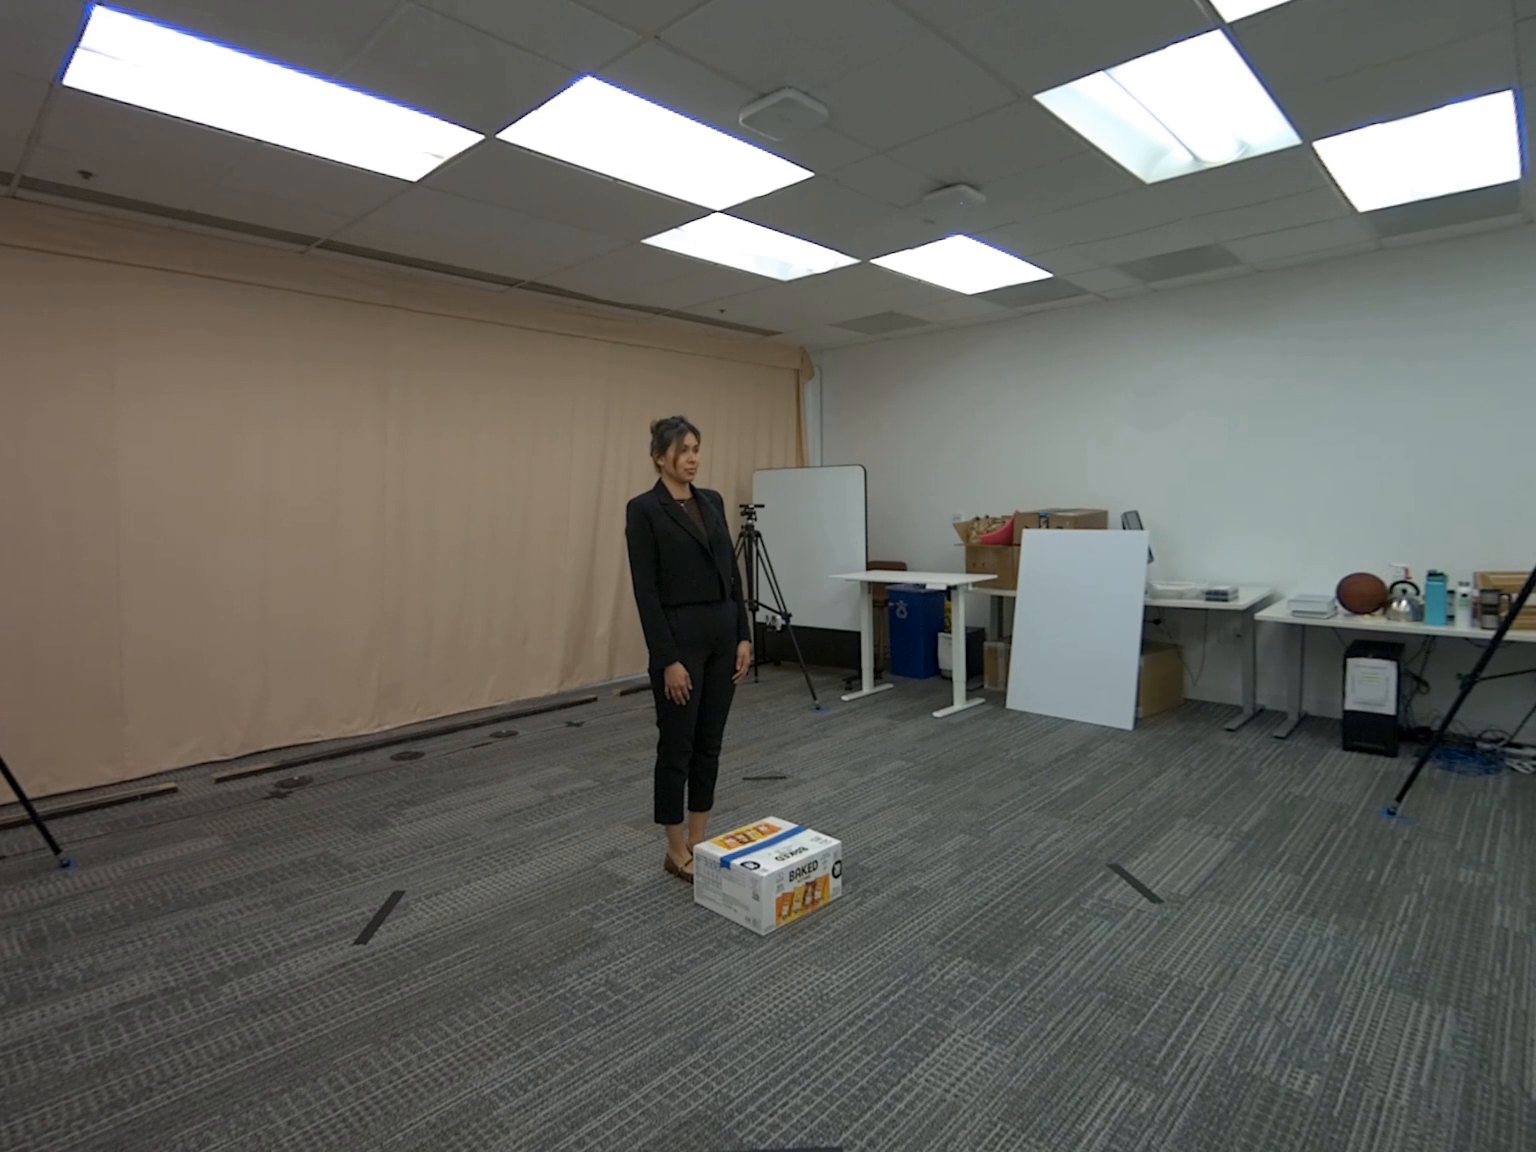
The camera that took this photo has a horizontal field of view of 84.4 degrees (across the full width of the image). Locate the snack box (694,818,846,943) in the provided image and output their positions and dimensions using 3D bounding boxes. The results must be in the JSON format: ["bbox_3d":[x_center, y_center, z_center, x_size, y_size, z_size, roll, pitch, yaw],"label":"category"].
[{"bbox_3d":[0.007,1.041,2.955,0.352,0.205,0.393,3,6,45],"label":"snack box"}]
